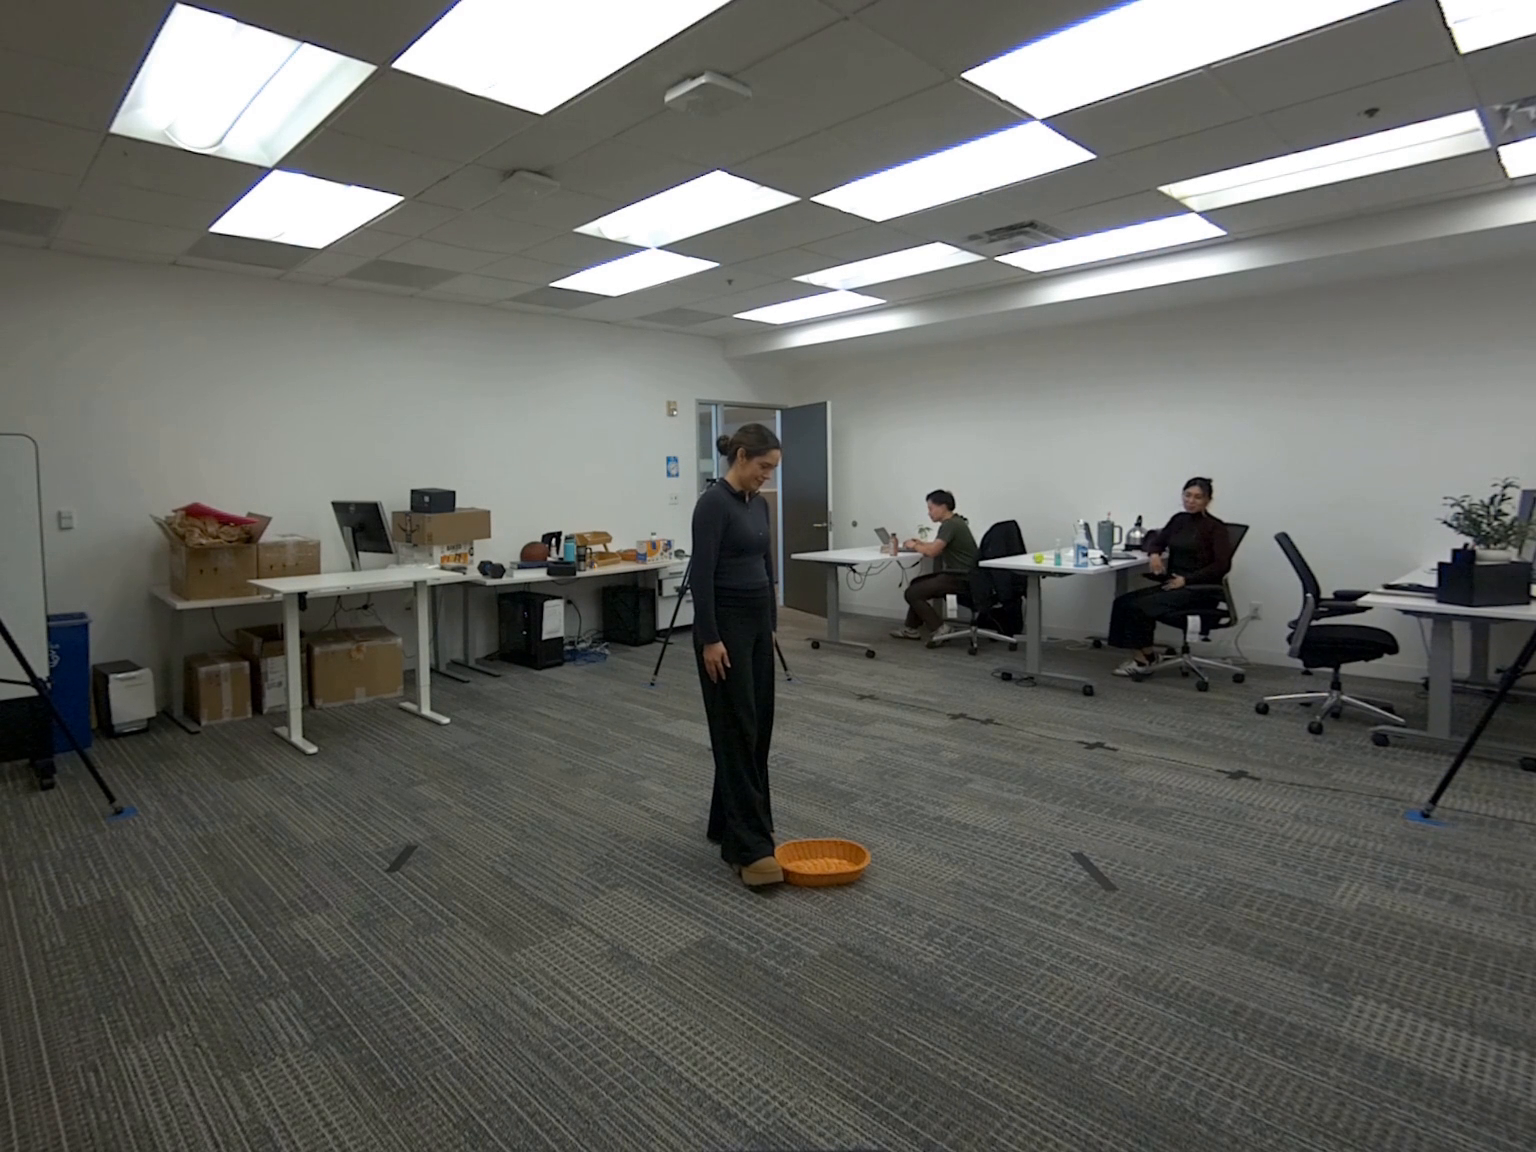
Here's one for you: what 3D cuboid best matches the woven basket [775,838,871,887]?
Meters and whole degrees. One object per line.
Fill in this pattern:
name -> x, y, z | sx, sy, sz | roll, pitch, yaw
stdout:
woven basket -> 0.187, 1.010, 2.995 | 0.349, 0.073, 0.255 | -1, 9, -5
